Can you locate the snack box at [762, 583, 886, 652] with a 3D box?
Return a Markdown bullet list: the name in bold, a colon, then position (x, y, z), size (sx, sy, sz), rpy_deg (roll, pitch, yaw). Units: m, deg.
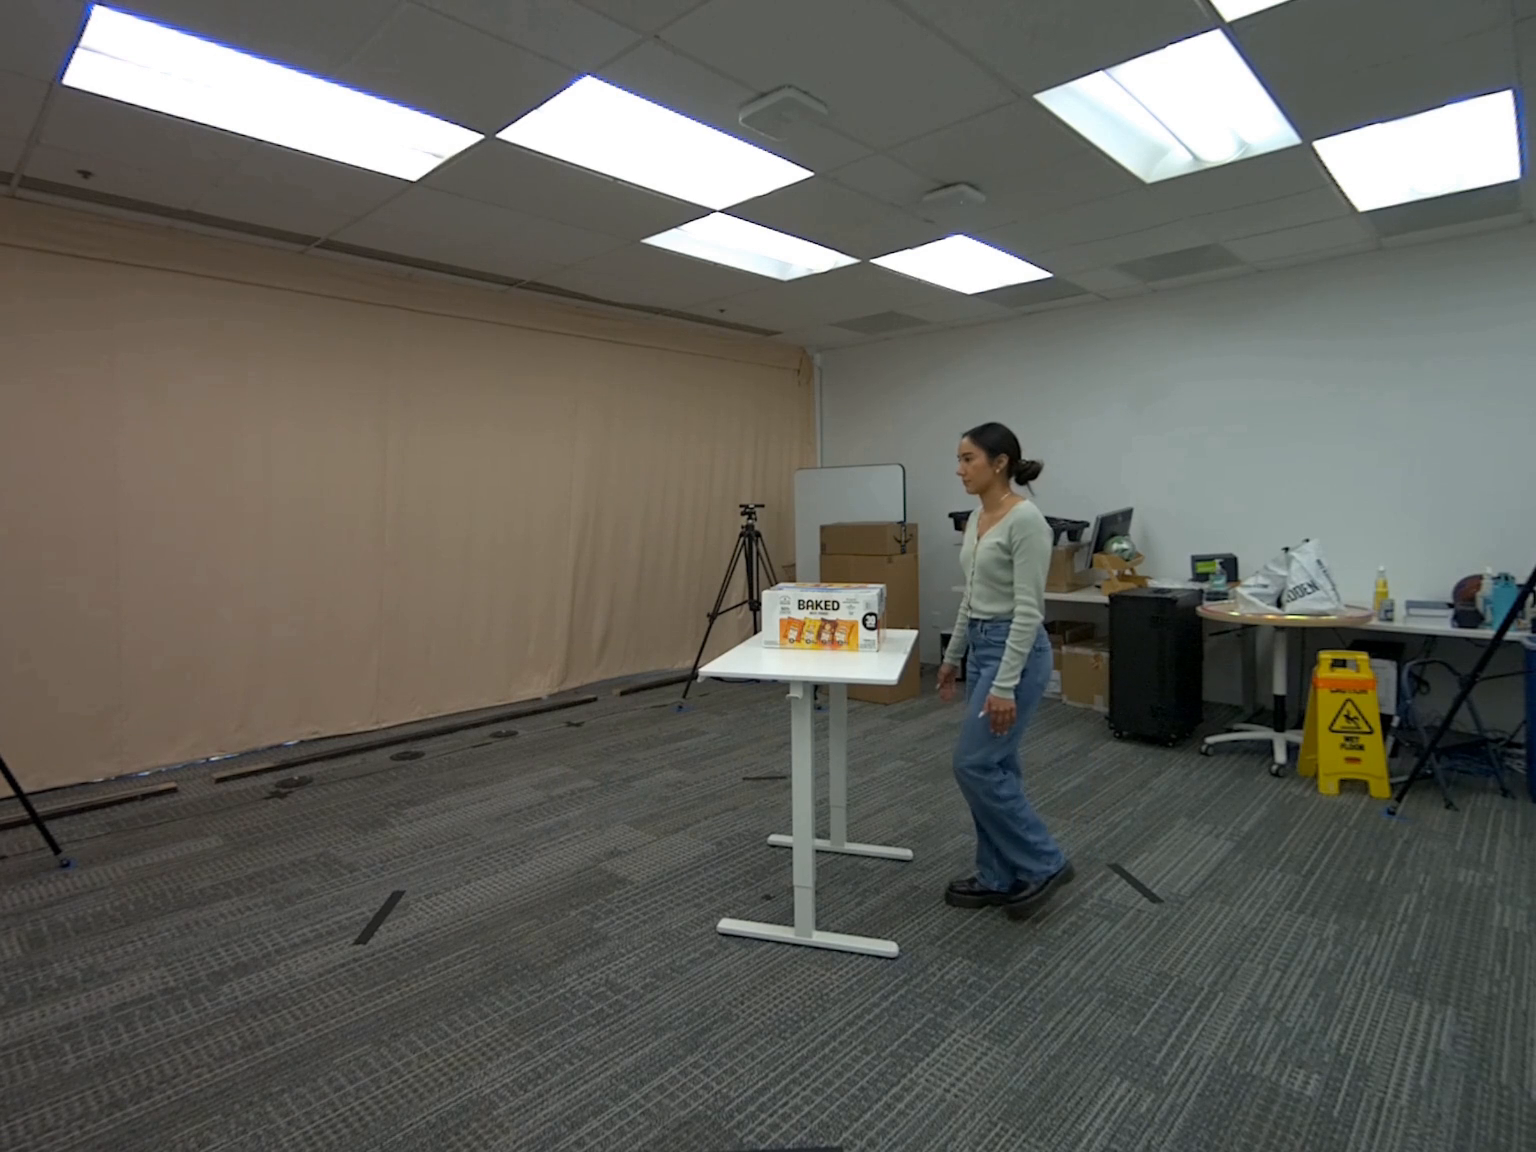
- **snack box**: position (0.215, 0.146, 3.087), size (0.412, 0.205, 0.335), rpy_deg (1, 4, 15)
